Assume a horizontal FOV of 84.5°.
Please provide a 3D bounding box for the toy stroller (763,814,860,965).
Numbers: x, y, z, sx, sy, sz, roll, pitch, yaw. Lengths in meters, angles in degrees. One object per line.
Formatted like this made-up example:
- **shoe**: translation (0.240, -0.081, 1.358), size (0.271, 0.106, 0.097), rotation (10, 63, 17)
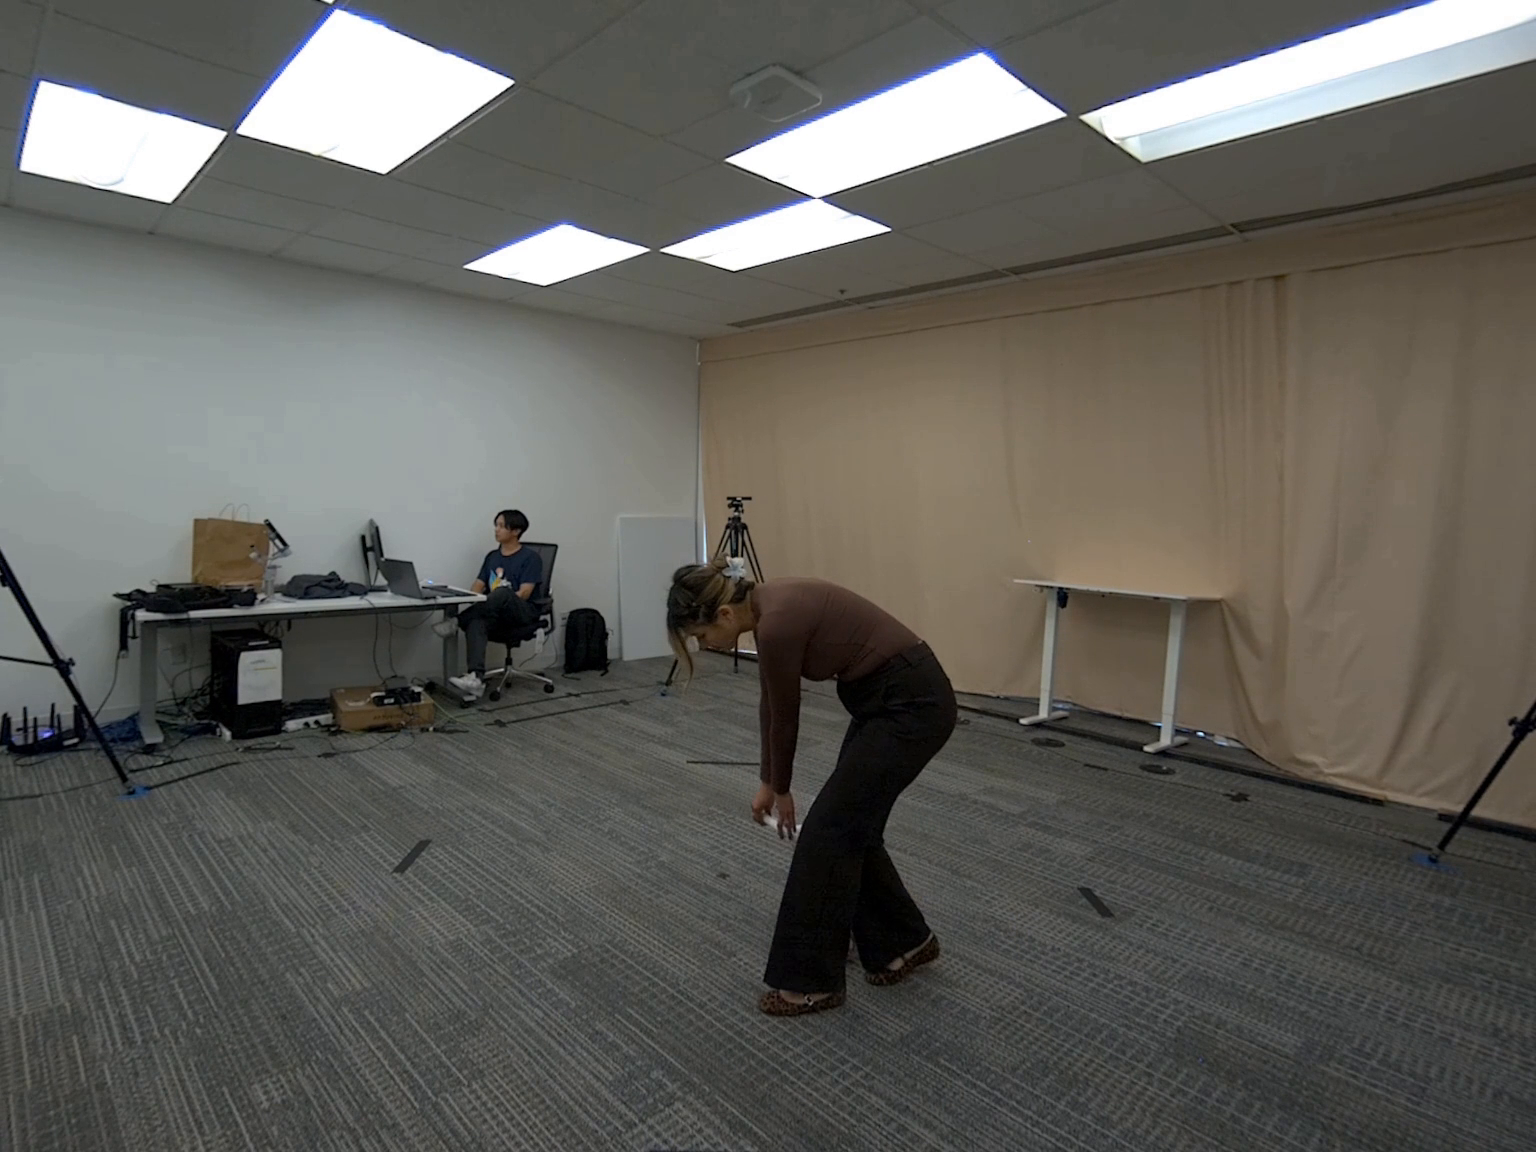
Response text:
- **toy stroller**: translation (0.206, 0.932, 2.660), size (0.337, 0.529, 0.287), rotation (-20, 13, -23)
